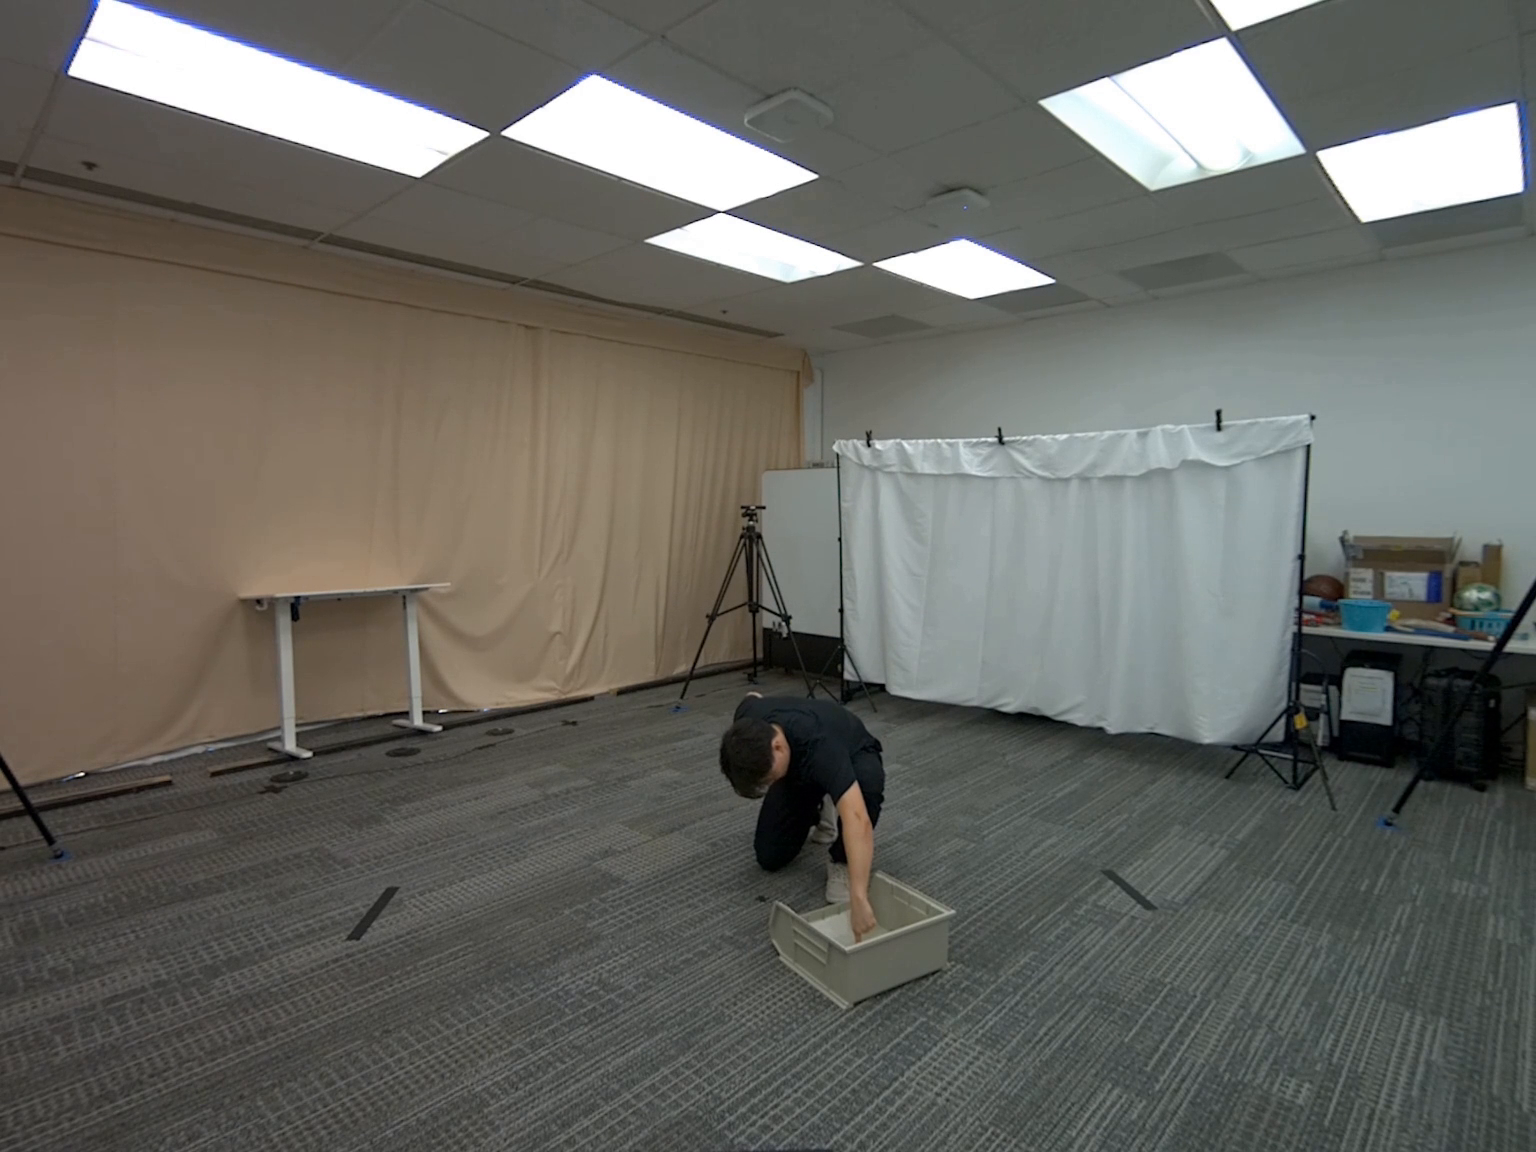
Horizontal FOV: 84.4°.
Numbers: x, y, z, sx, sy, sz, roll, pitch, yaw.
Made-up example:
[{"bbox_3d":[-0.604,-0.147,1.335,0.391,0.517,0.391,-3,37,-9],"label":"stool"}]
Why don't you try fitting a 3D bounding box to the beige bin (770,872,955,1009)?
[{"bbox_3d":[0.279,1.081,2.574,0.410,0.188,0.389,-2,5,-33],"label":"beige bin"}]
